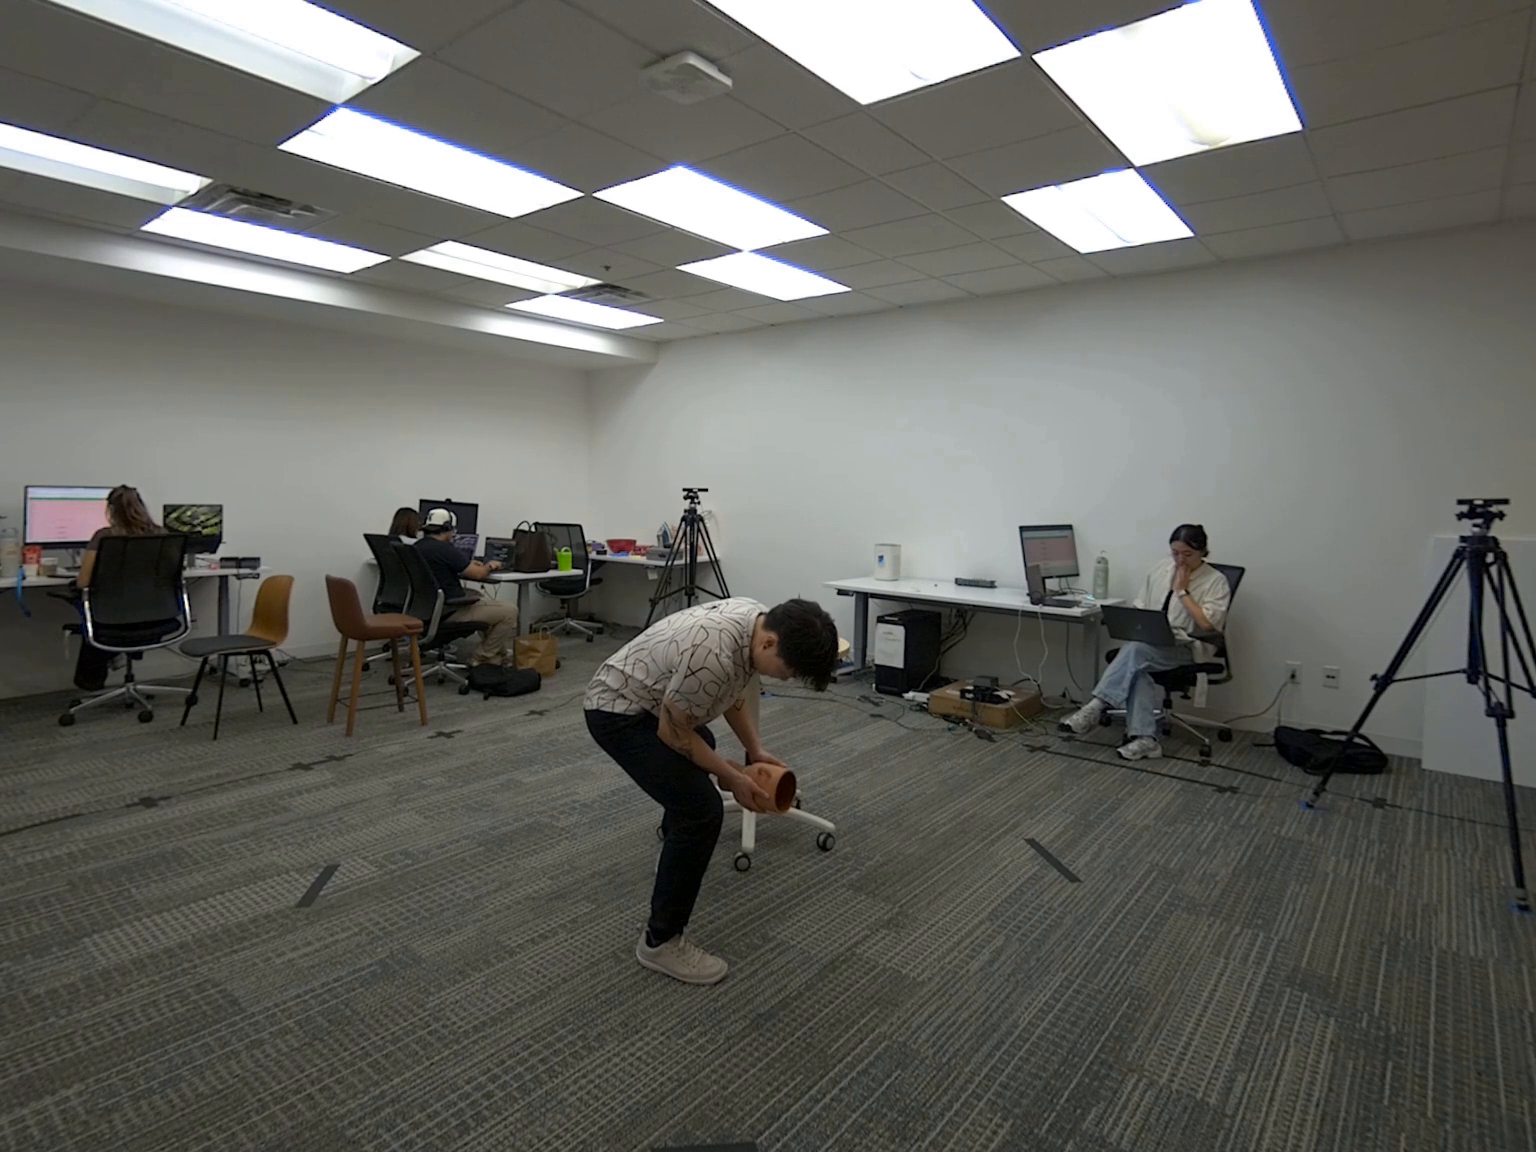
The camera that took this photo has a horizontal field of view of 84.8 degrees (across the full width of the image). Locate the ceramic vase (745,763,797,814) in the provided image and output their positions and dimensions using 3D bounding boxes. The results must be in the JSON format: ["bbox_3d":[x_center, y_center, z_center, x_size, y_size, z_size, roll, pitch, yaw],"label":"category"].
[{"bbox_3d":[-0.045,0.633,2.596,0.227,0.158,0.131,5,8,34],"label":"ceramic vase"}]
